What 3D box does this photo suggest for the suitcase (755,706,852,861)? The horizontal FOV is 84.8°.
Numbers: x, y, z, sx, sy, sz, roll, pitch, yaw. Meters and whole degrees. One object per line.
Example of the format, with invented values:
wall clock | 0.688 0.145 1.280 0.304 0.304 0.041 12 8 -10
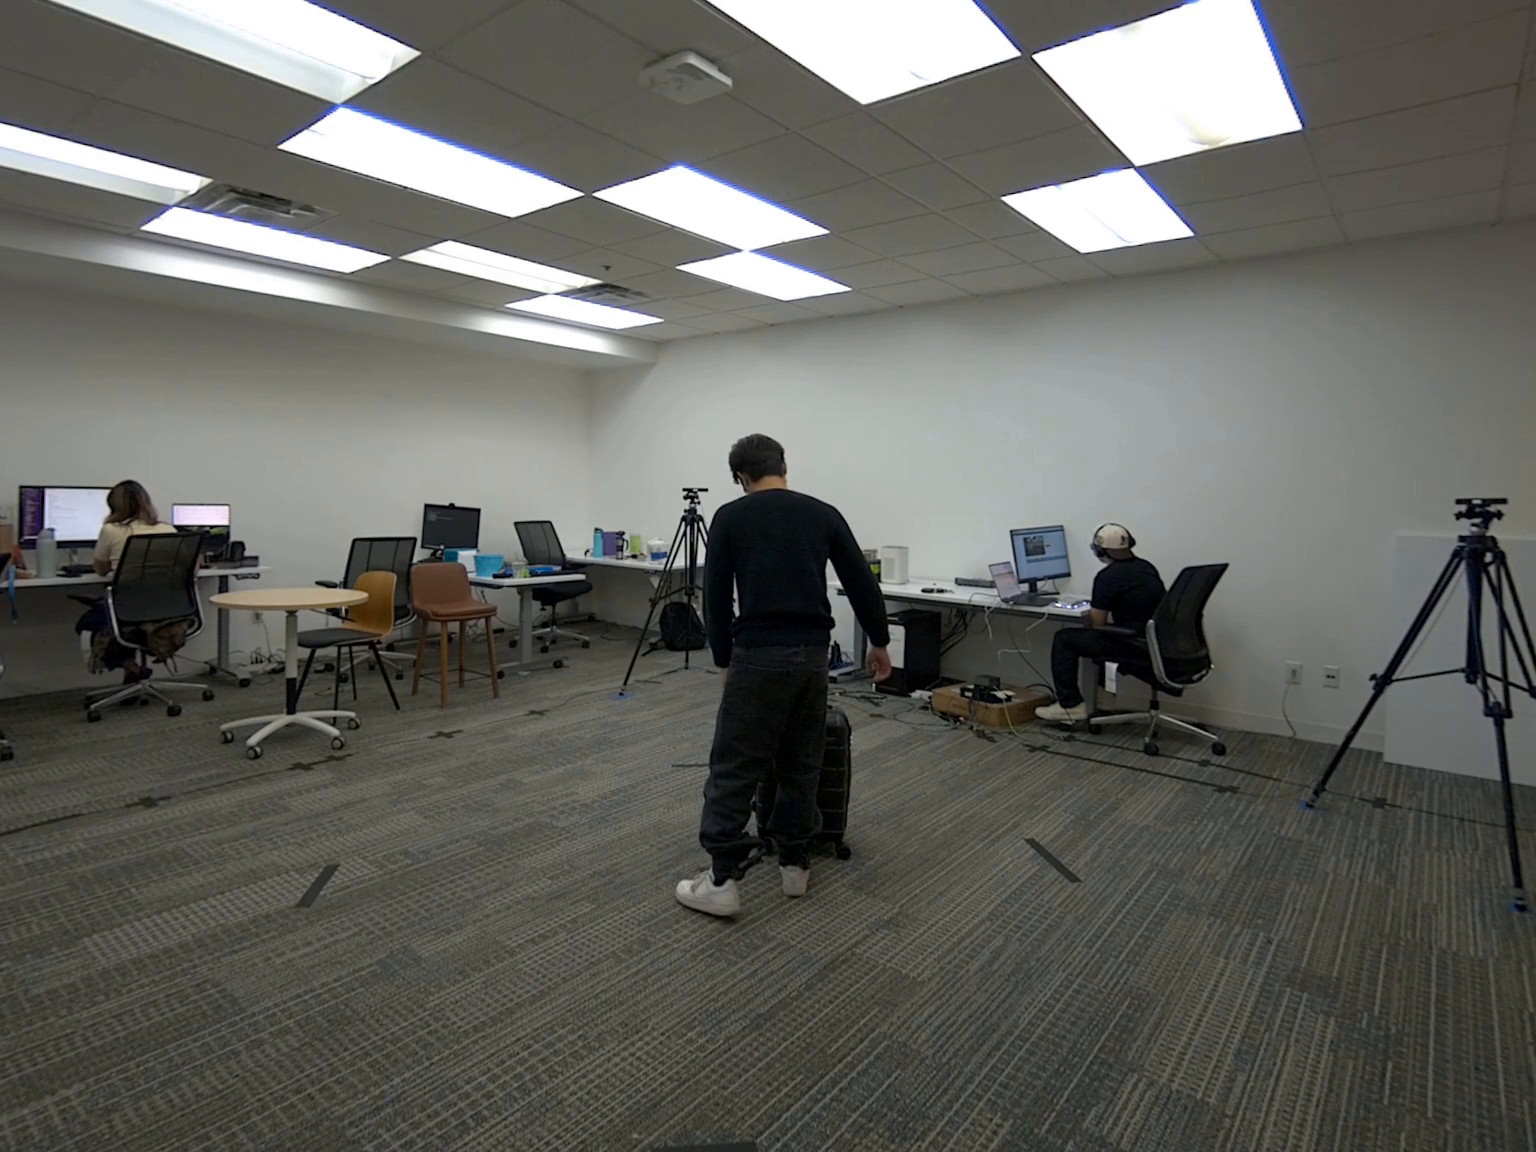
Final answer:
suitcase | 0.133 0.775 3.346 0.378 0.547 0.247 3 4 6
